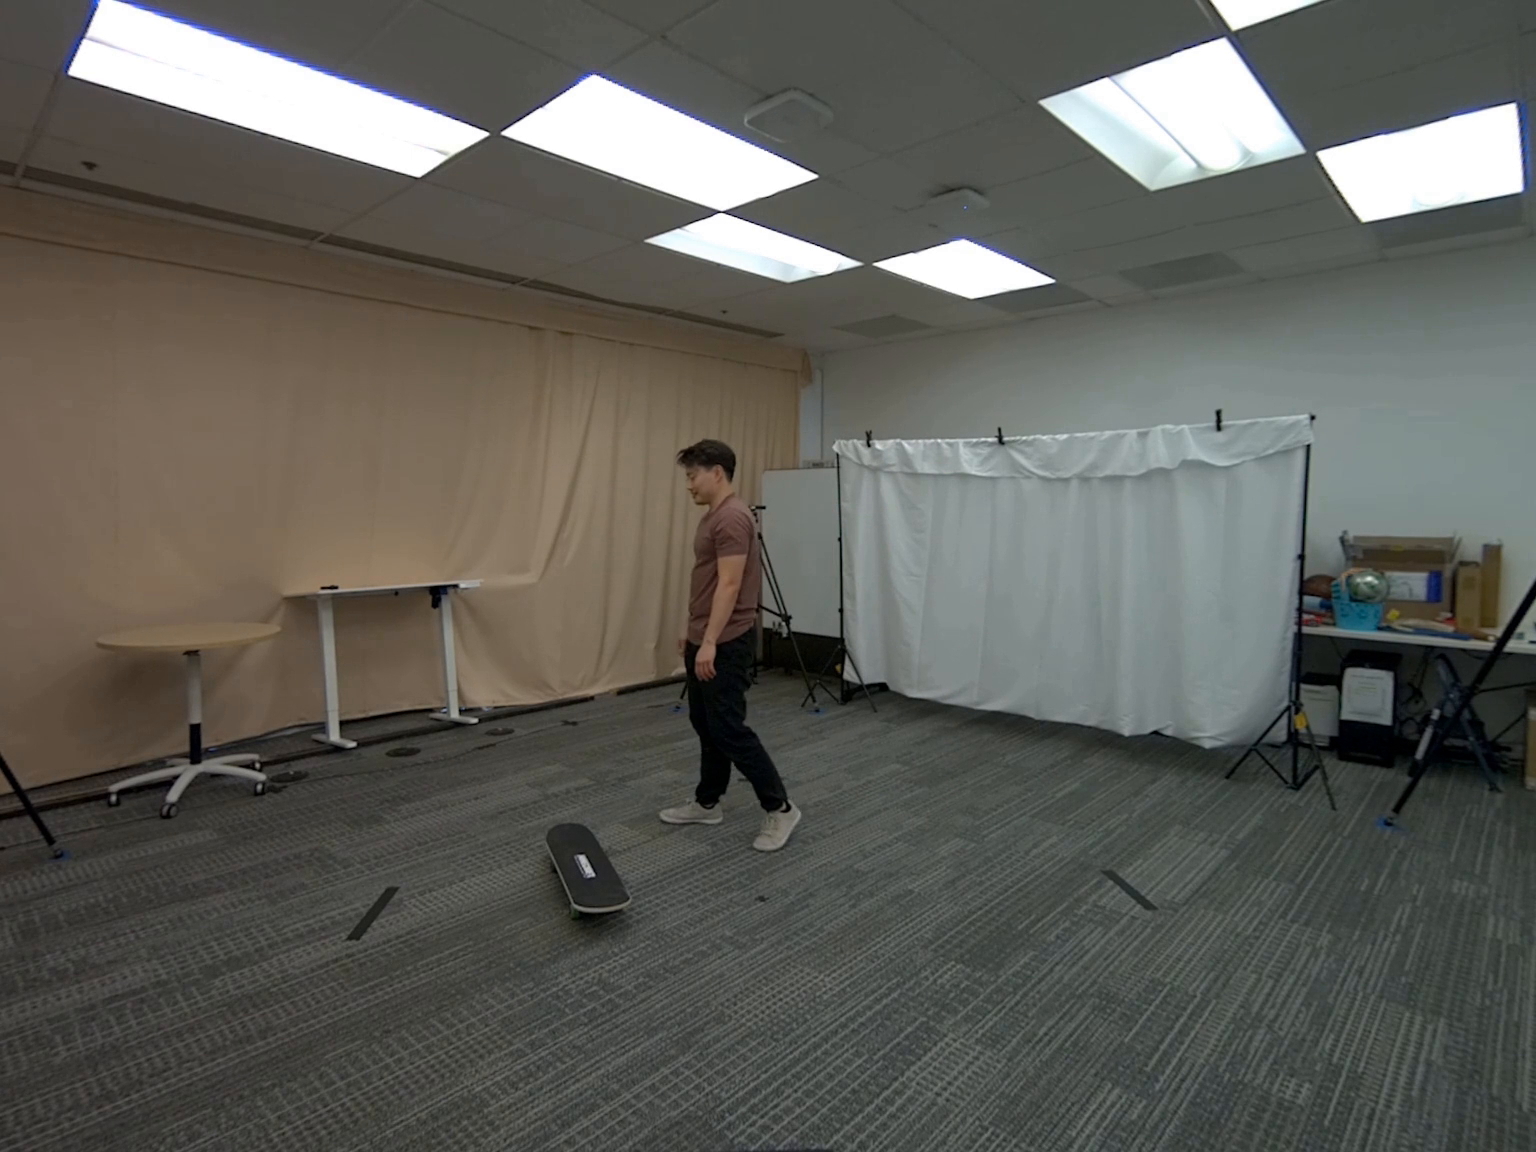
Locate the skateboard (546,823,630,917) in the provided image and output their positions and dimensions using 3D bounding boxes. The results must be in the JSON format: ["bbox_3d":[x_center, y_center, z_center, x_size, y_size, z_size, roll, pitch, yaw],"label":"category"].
[{"bbox_3d":[-0.665,1.086,3.065,0.189,0.110,0.804,-2,5,-22],"label":"skateboard"}]
